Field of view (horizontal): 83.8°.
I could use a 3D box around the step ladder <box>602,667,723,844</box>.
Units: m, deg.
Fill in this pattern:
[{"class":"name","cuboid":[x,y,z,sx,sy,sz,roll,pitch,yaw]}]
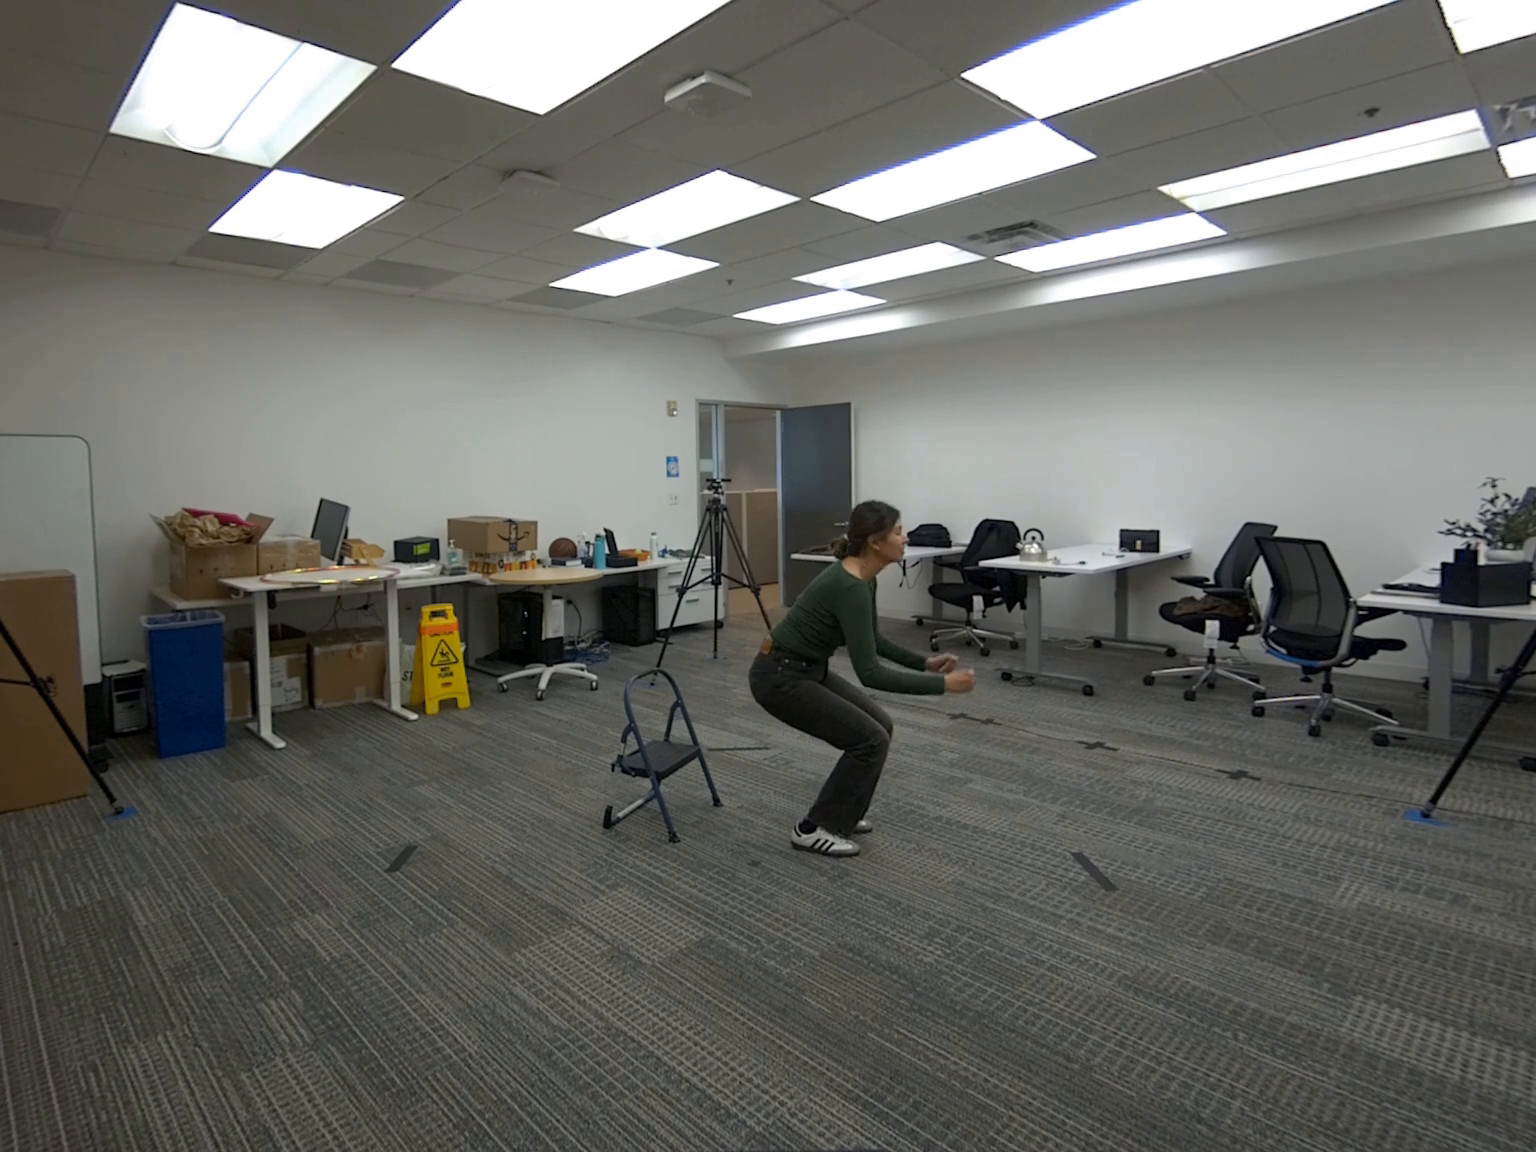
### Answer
[{"class":"step ladder","cuboid":[-0.438,0.697,3.541,0.357,0.604,0.423,0,4,23]}]
